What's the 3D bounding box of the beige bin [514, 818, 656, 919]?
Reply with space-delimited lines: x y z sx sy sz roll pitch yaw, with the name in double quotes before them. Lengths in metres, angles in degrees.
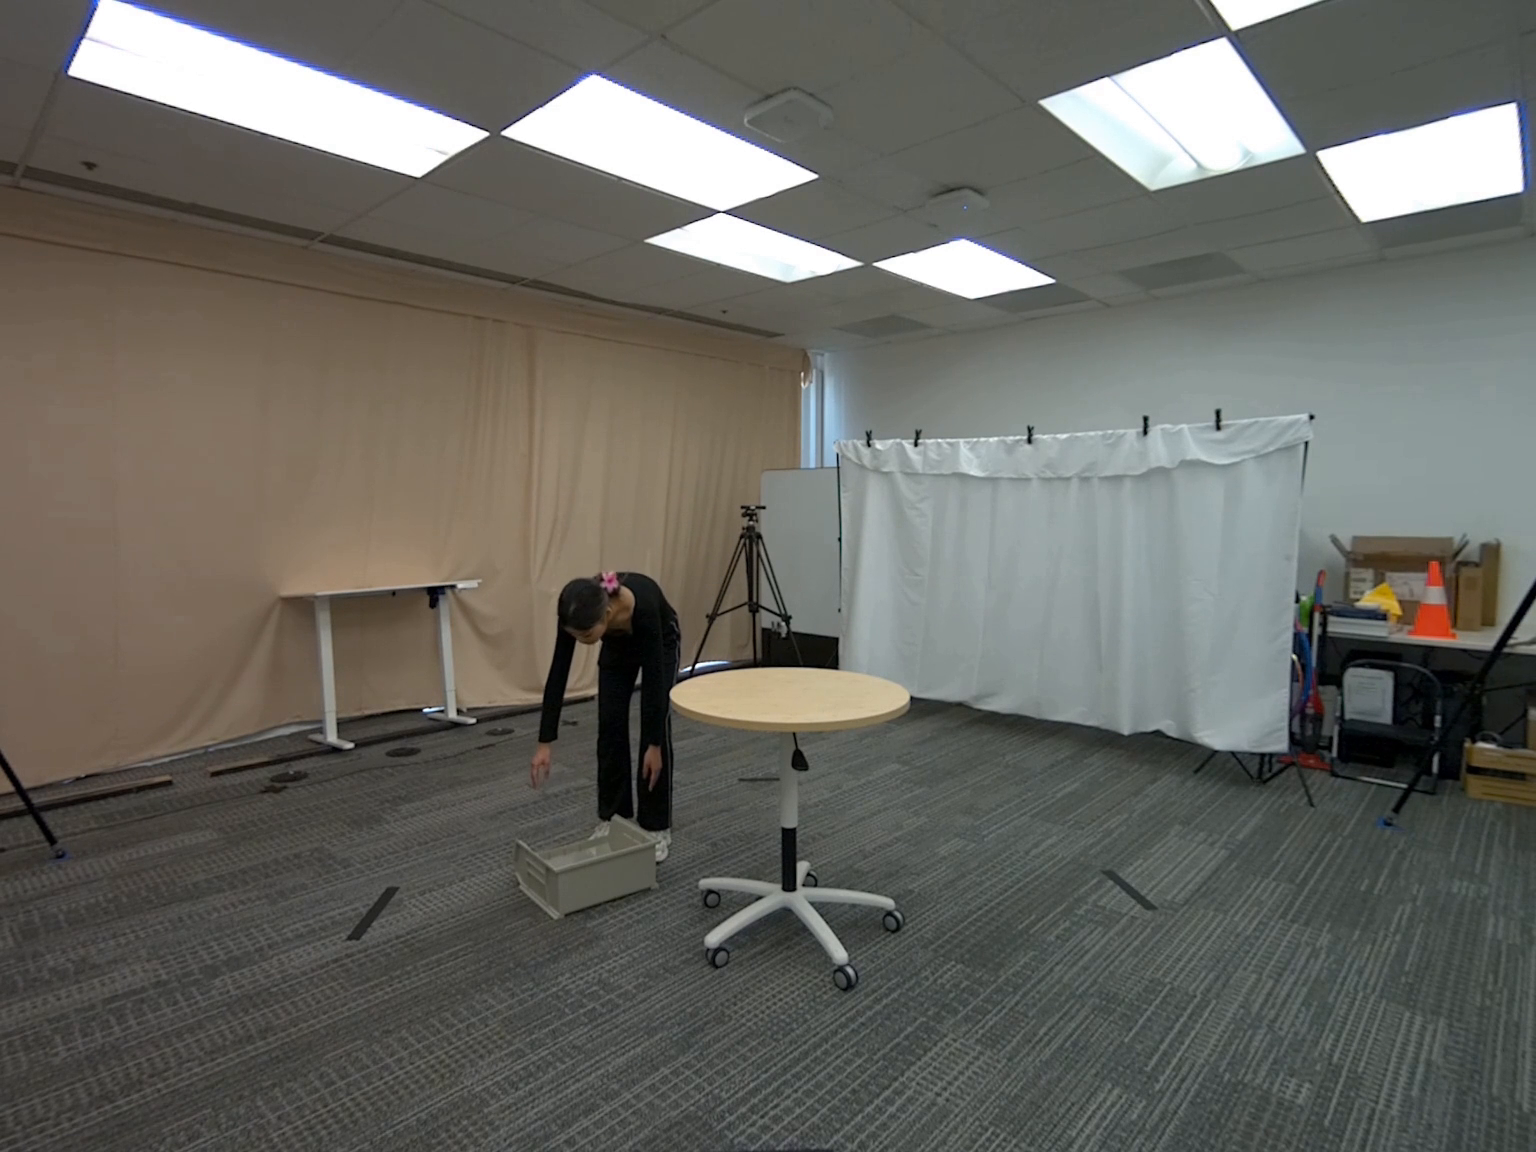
"beige bin" -0.671 1.047 3.097 0.410 0.188 0.389 -3 6 -37
